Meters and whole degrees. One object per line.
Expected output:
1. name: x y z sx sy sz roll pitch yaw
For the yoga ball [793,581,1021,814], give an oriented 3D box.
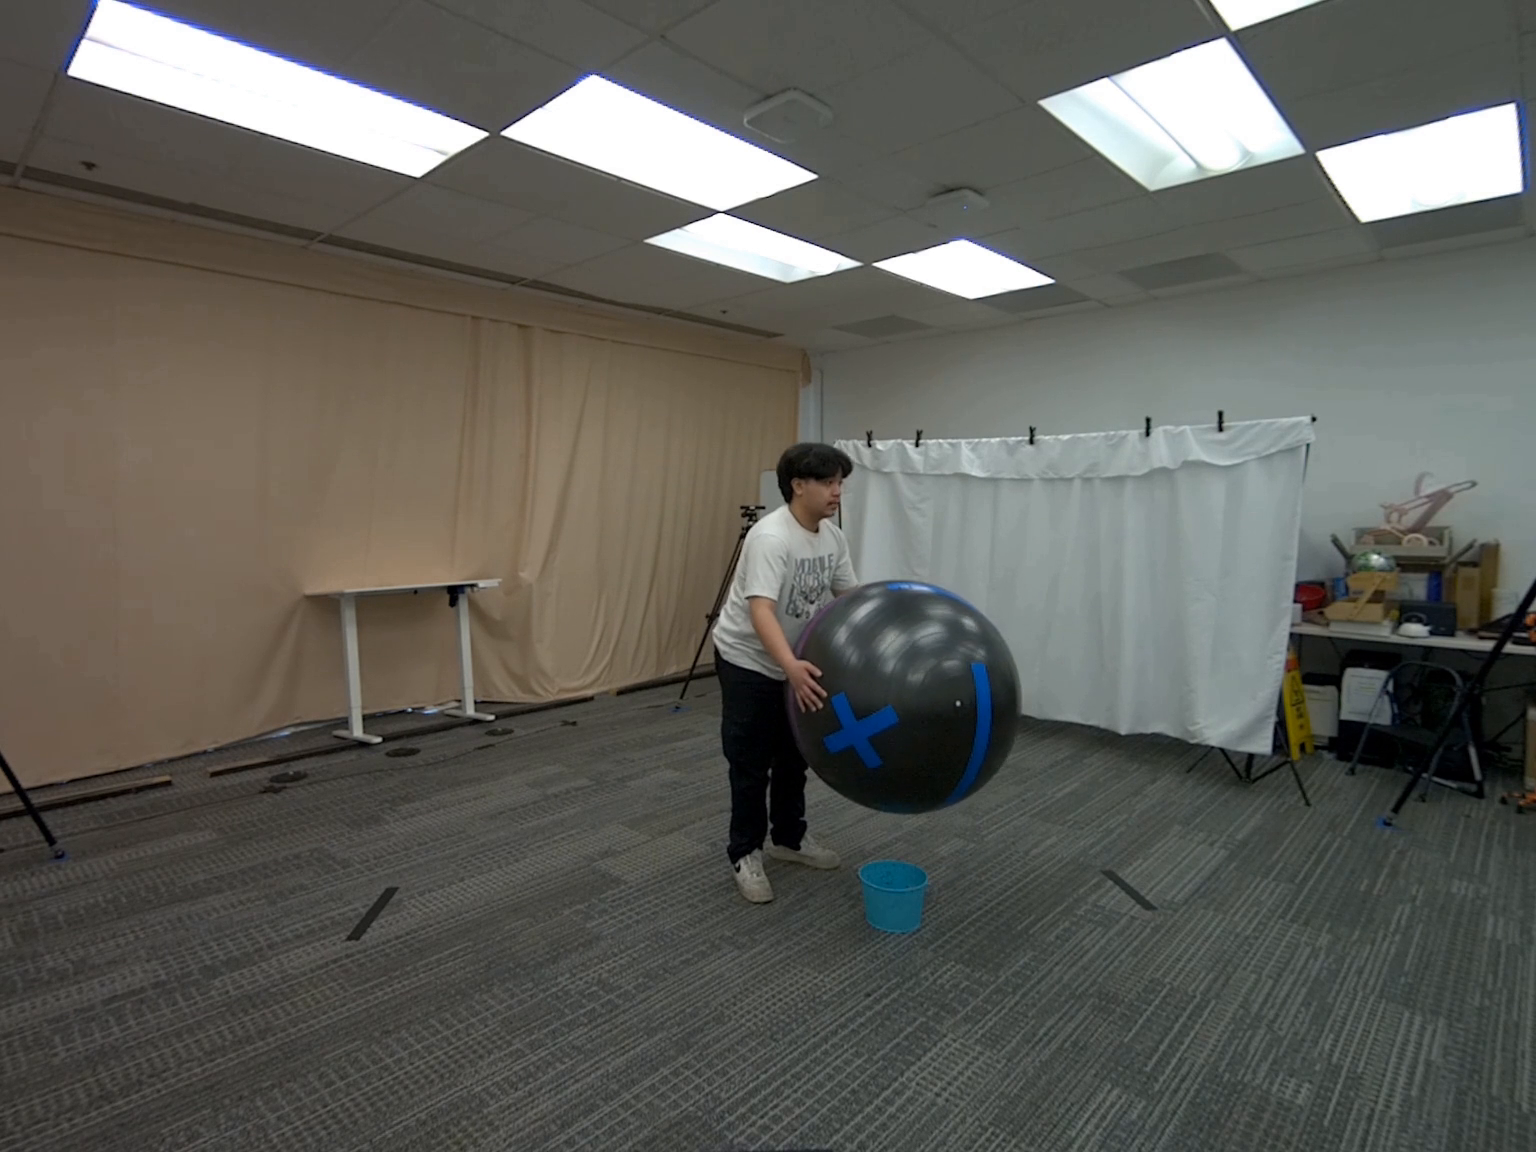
1. yoga ball: 0.441 0.408 2.785 0.757 0.756 0.760 0 4 -2
